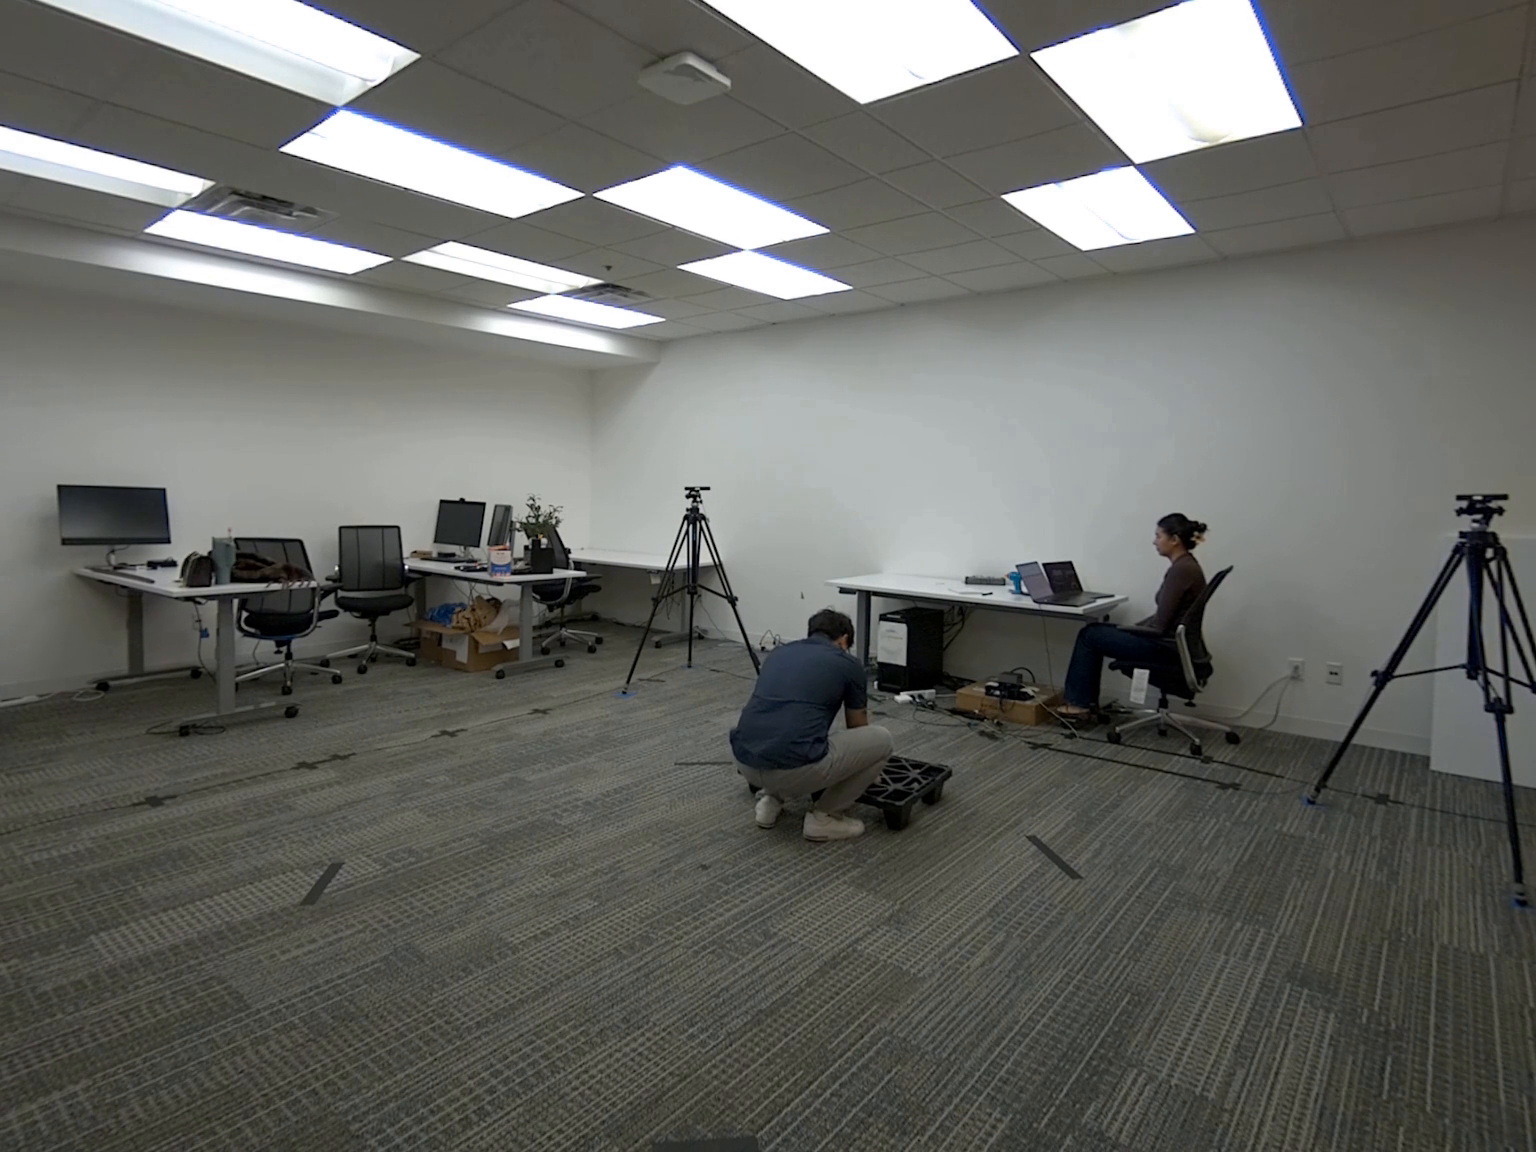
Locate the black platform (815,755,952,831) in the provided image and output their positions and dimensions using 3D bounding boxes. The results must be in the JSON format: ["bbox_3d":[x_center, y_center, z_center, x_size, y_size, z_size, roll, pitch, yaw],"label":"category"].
[{"bbox_3d":[0.344,0.930,3.884,0.831,0.143,0.588,4,6,34],"label":"black platform"}]
